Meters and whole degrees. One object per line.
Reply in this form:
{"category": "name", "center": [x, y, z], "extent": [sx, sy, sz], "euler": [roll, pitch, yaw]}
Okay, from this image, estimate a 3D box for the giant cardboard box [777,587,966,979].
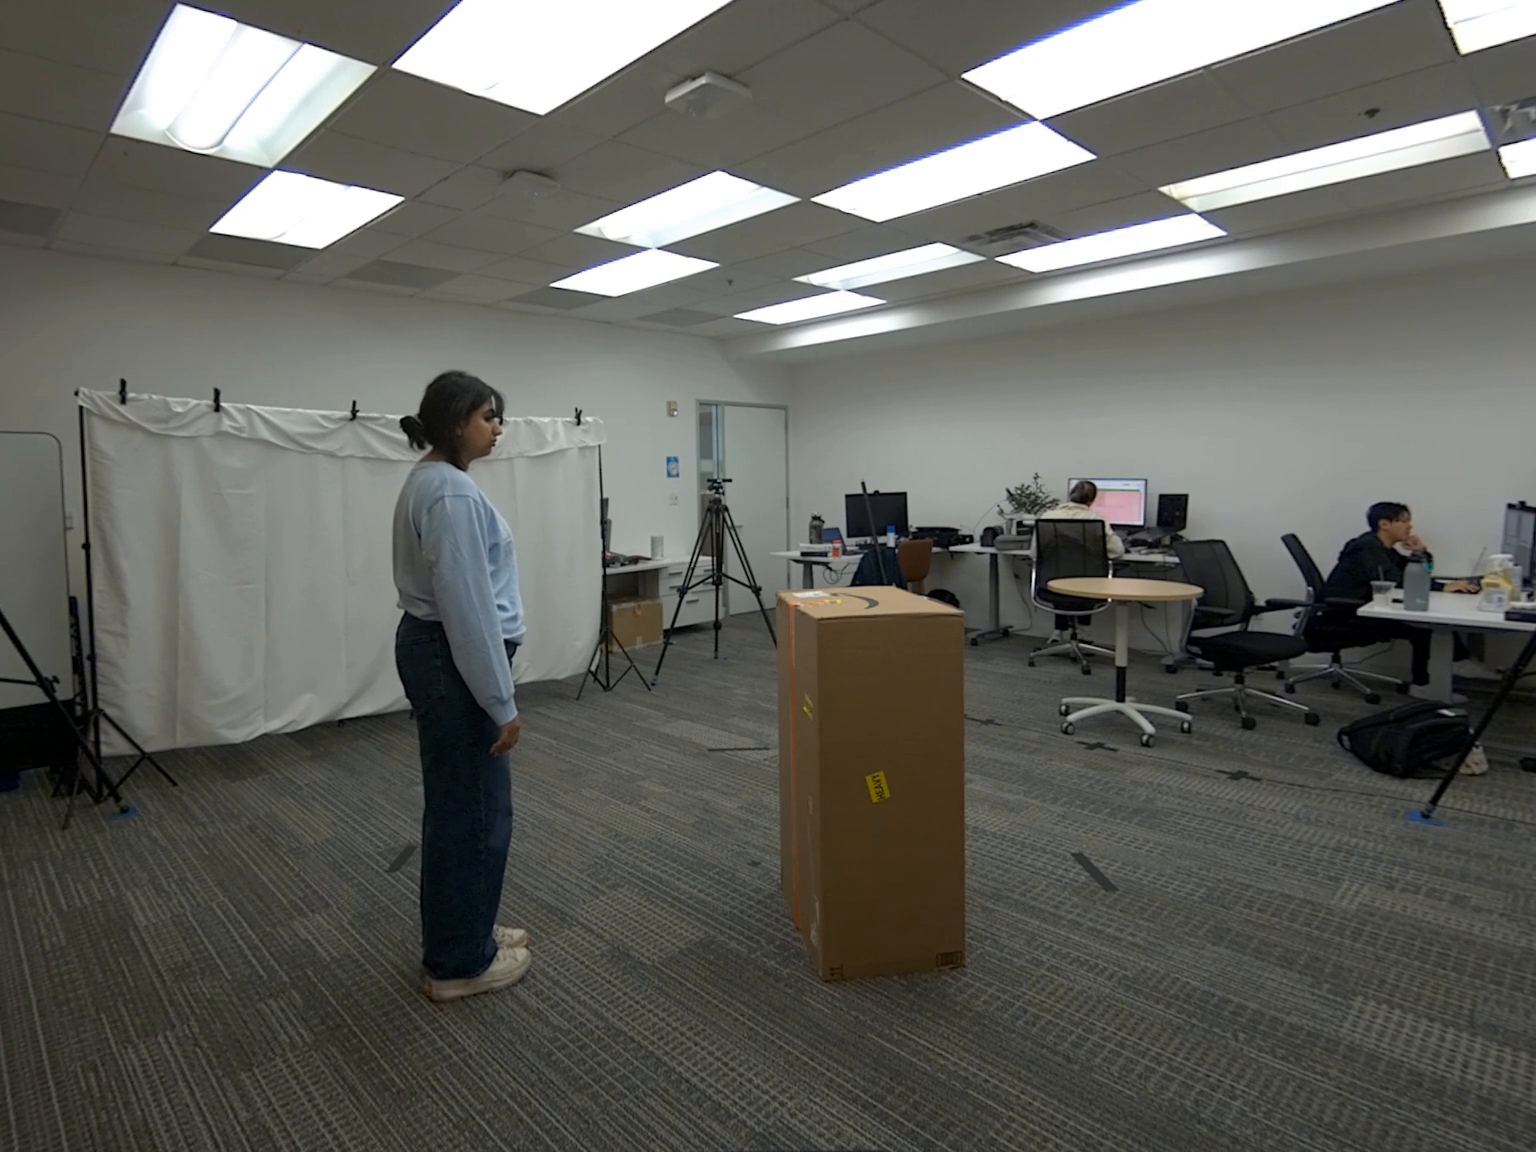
{"category": "giant cardboard box", "center": [0.296, 0.583, 2.646], "extent": [0.443, 1.023, 0.591], "euler": [-2, 5, -9]}
